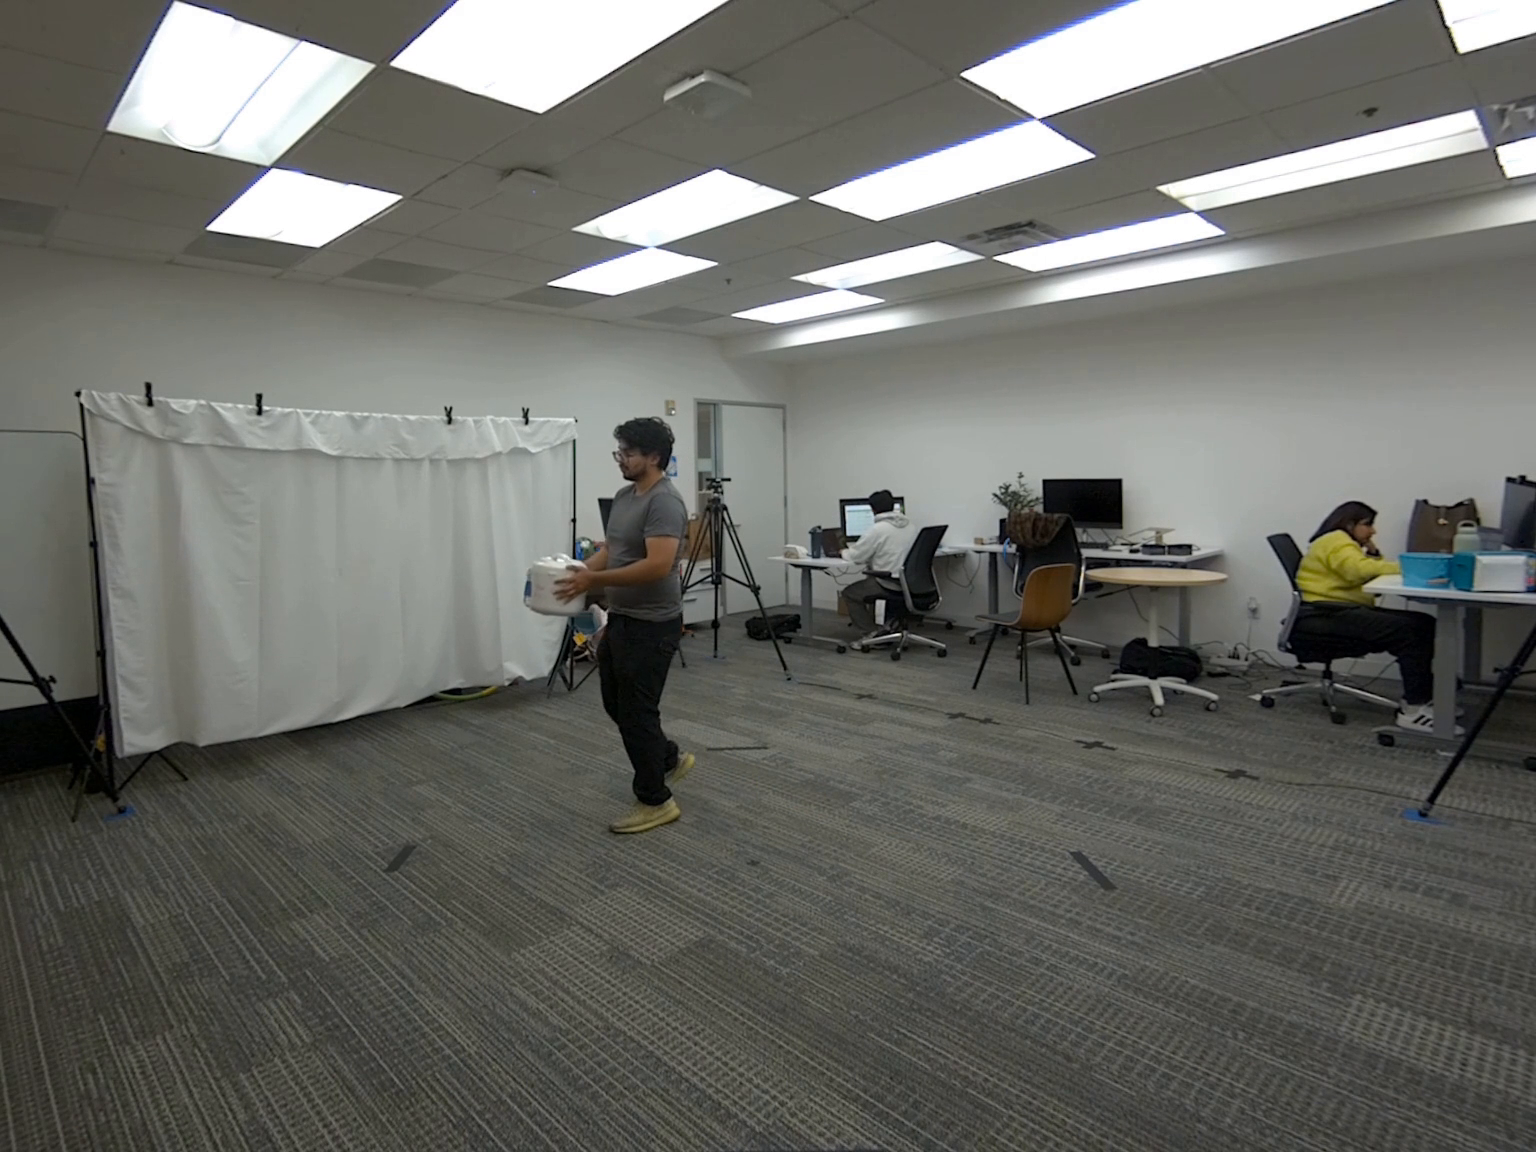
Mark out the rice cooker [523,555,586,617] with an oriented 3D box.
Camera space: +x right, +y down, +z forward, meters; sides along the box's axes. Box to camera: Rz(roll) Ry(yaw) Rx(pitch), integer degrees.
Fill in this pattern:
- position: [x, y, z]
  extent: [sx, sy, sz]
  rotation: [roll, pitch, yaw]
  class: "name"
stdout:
- position: [-0.801, 0.030, 3.291]
  extent: [0.211, 0.232, 0.227]
  rotation: [3, 4, -37]
  class: "rice cooker"
